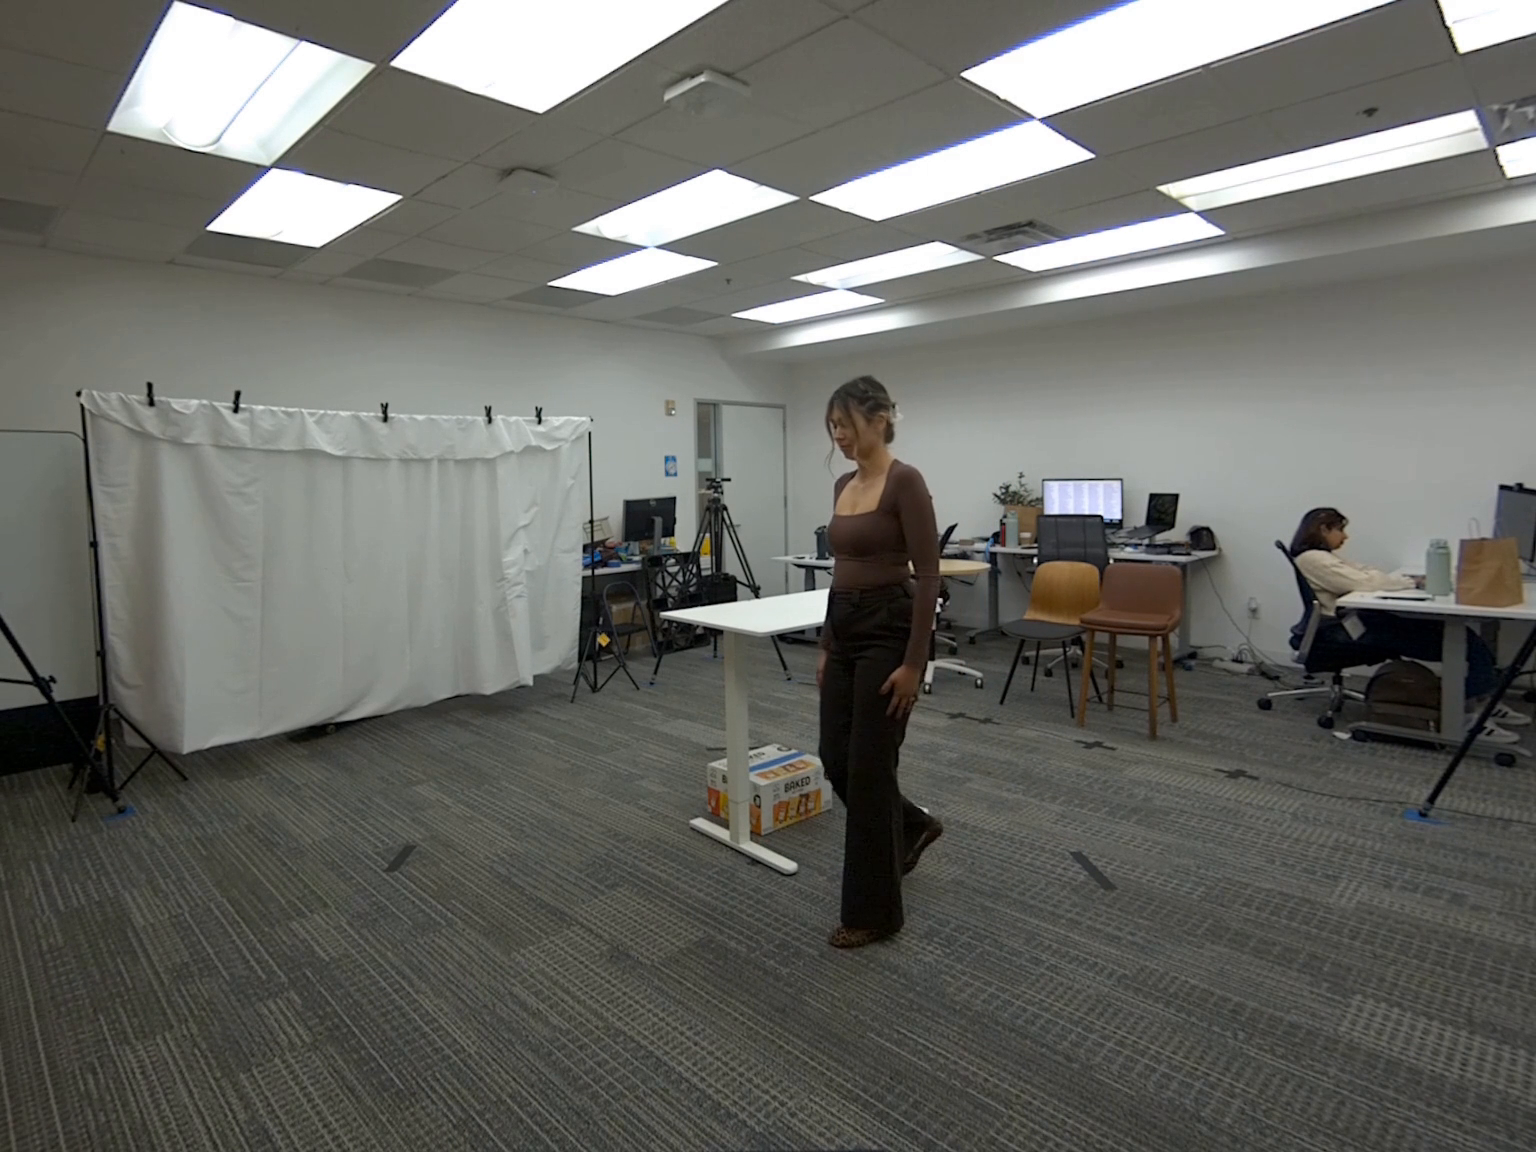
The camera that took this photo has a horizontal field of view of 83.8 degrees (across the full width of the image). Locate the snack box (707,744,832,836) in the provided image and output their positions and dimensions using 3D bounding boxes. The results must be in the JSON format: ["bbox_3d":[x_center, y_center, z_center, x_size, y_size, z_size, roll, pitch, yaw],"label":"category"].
[{"bbox_3d":[0.007,0.886,3.587,0.394,0.205,0.351,-6,8,-42],"label":"snack box"}]
